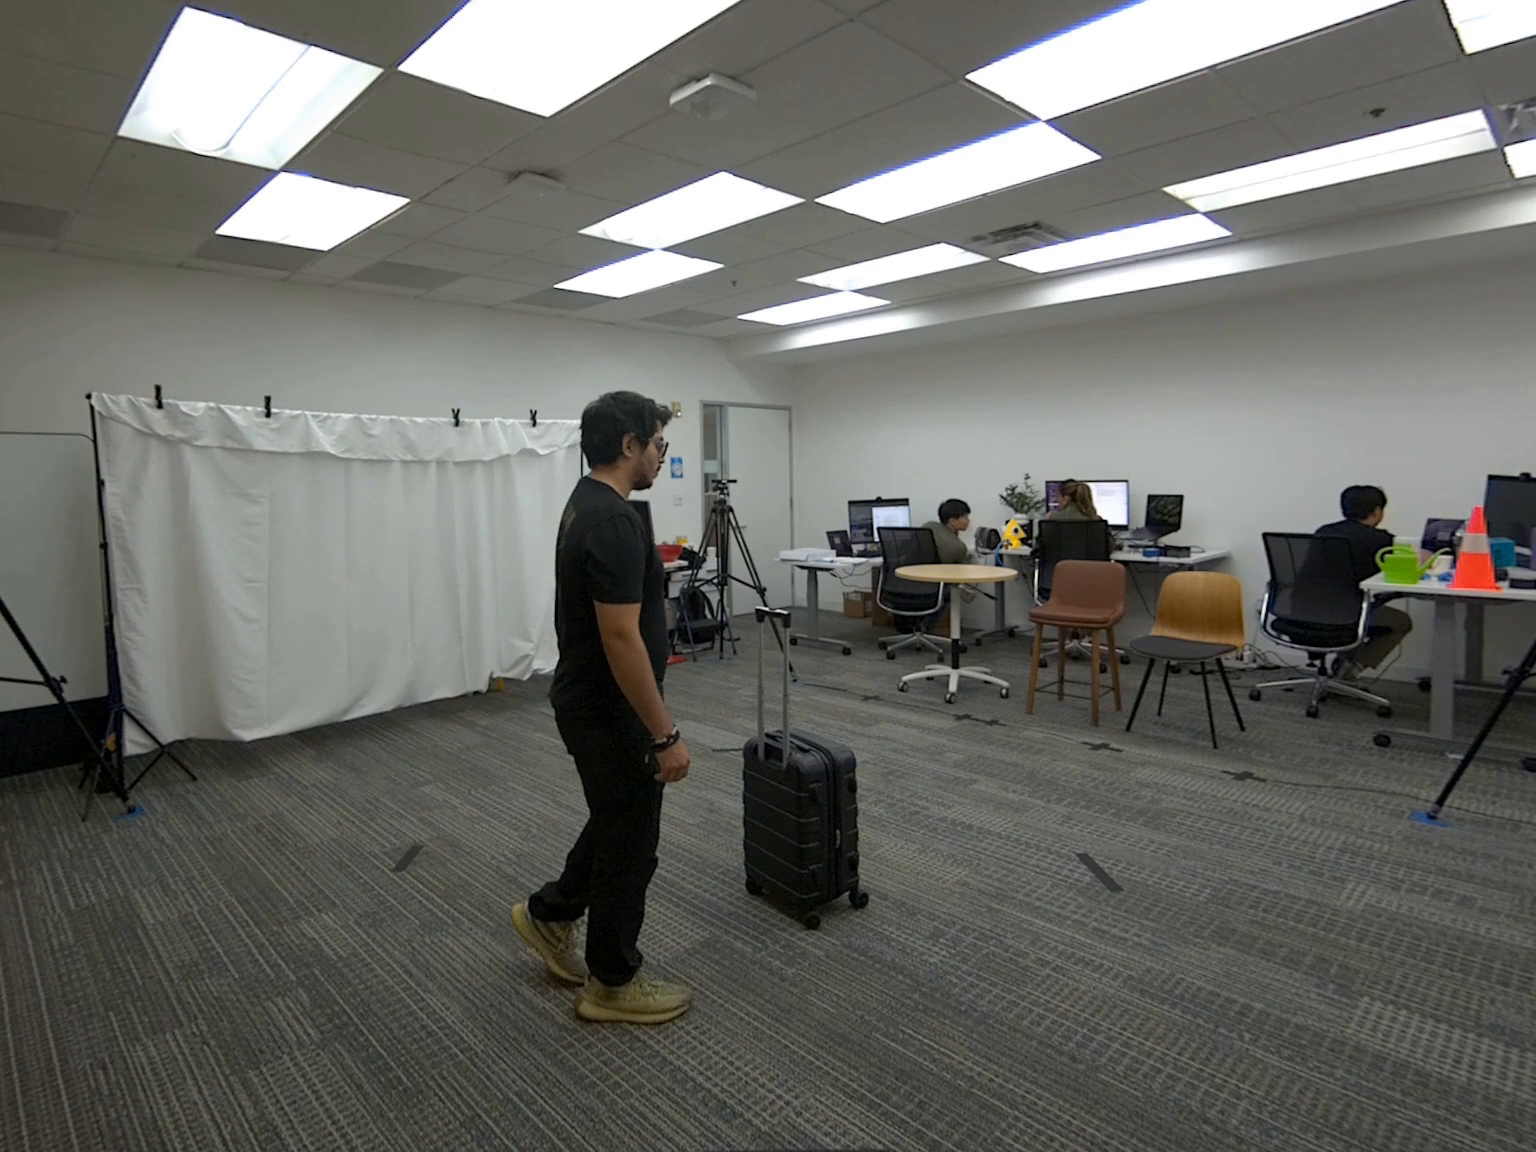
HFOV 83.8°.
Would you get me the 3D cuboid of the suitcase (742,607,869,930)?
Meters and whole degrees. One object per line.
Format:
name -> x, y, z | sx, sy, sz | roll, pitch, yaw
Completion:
suitcase -> 0.110, 0.598, 2.815 | 0.250, 0.975, 0.395 | -3, 5, -34
